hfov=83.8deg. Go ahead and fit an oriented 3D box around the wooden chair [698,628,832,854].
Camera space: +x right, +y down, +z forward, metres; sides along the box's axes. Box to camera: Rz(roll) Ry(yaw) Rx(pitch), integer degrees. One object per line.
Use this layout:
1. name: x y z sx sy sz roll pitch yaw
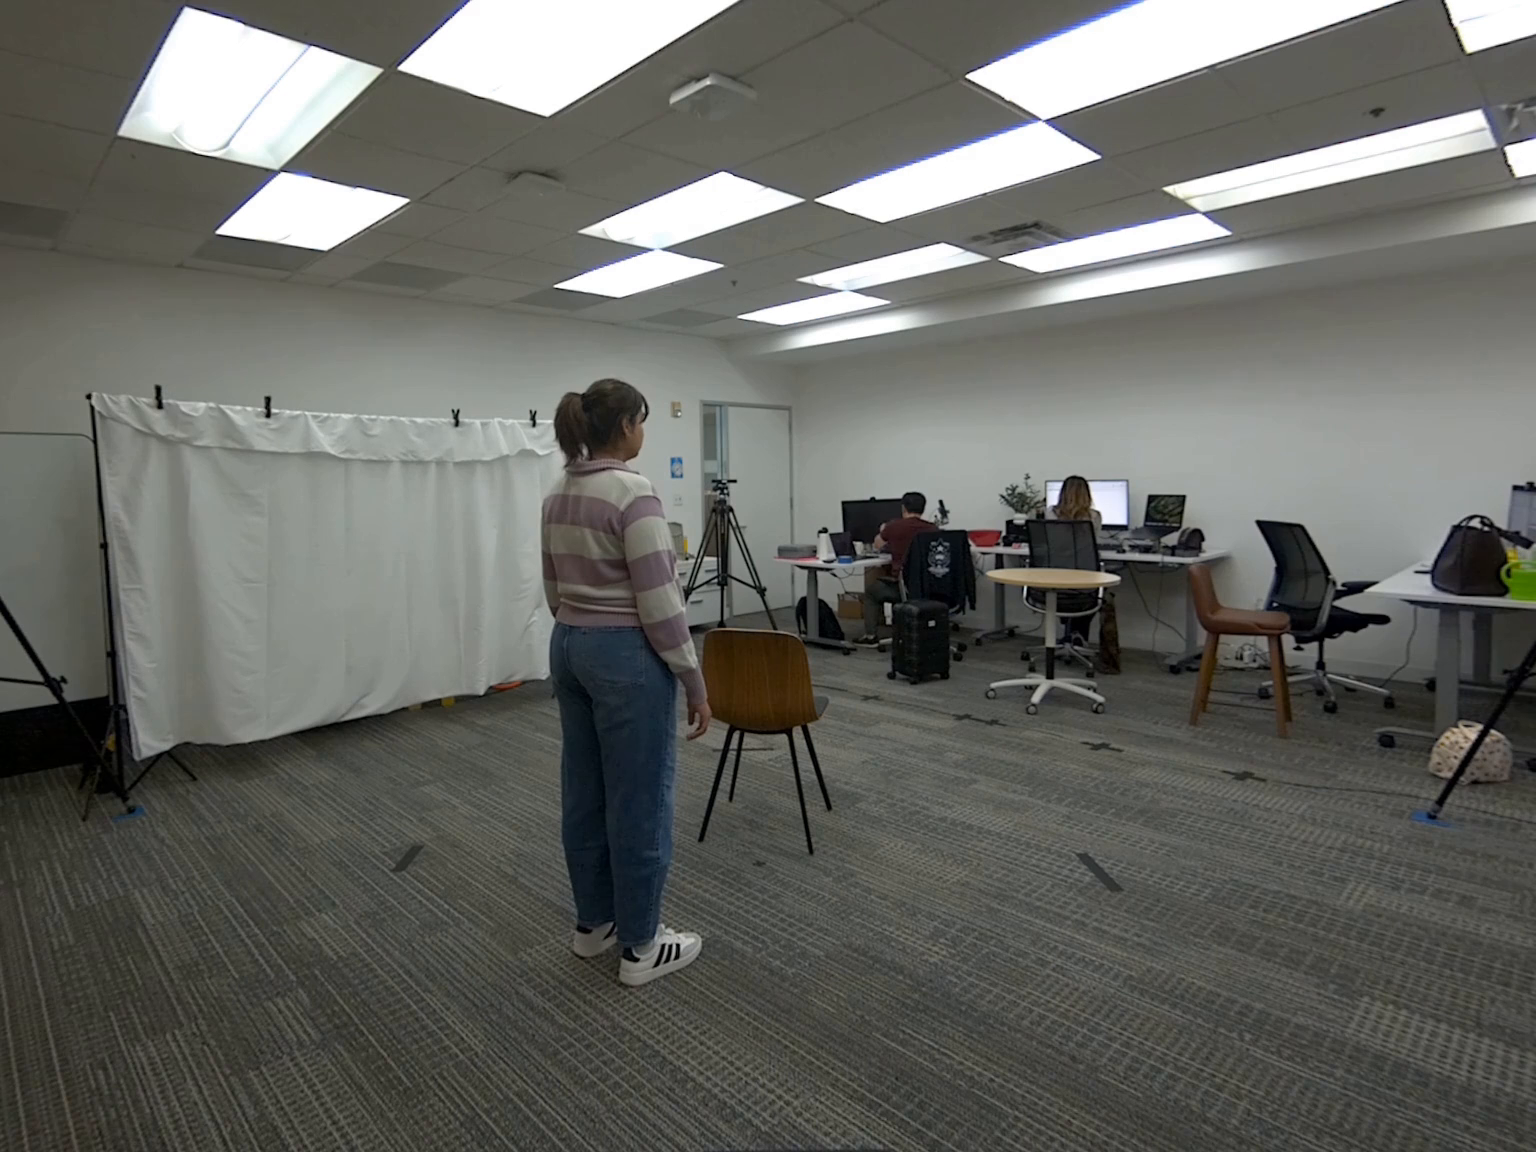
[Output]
1. wooden chair: -0.002 0.583 3.429 0.485 0.871 0.519 0 8 15
